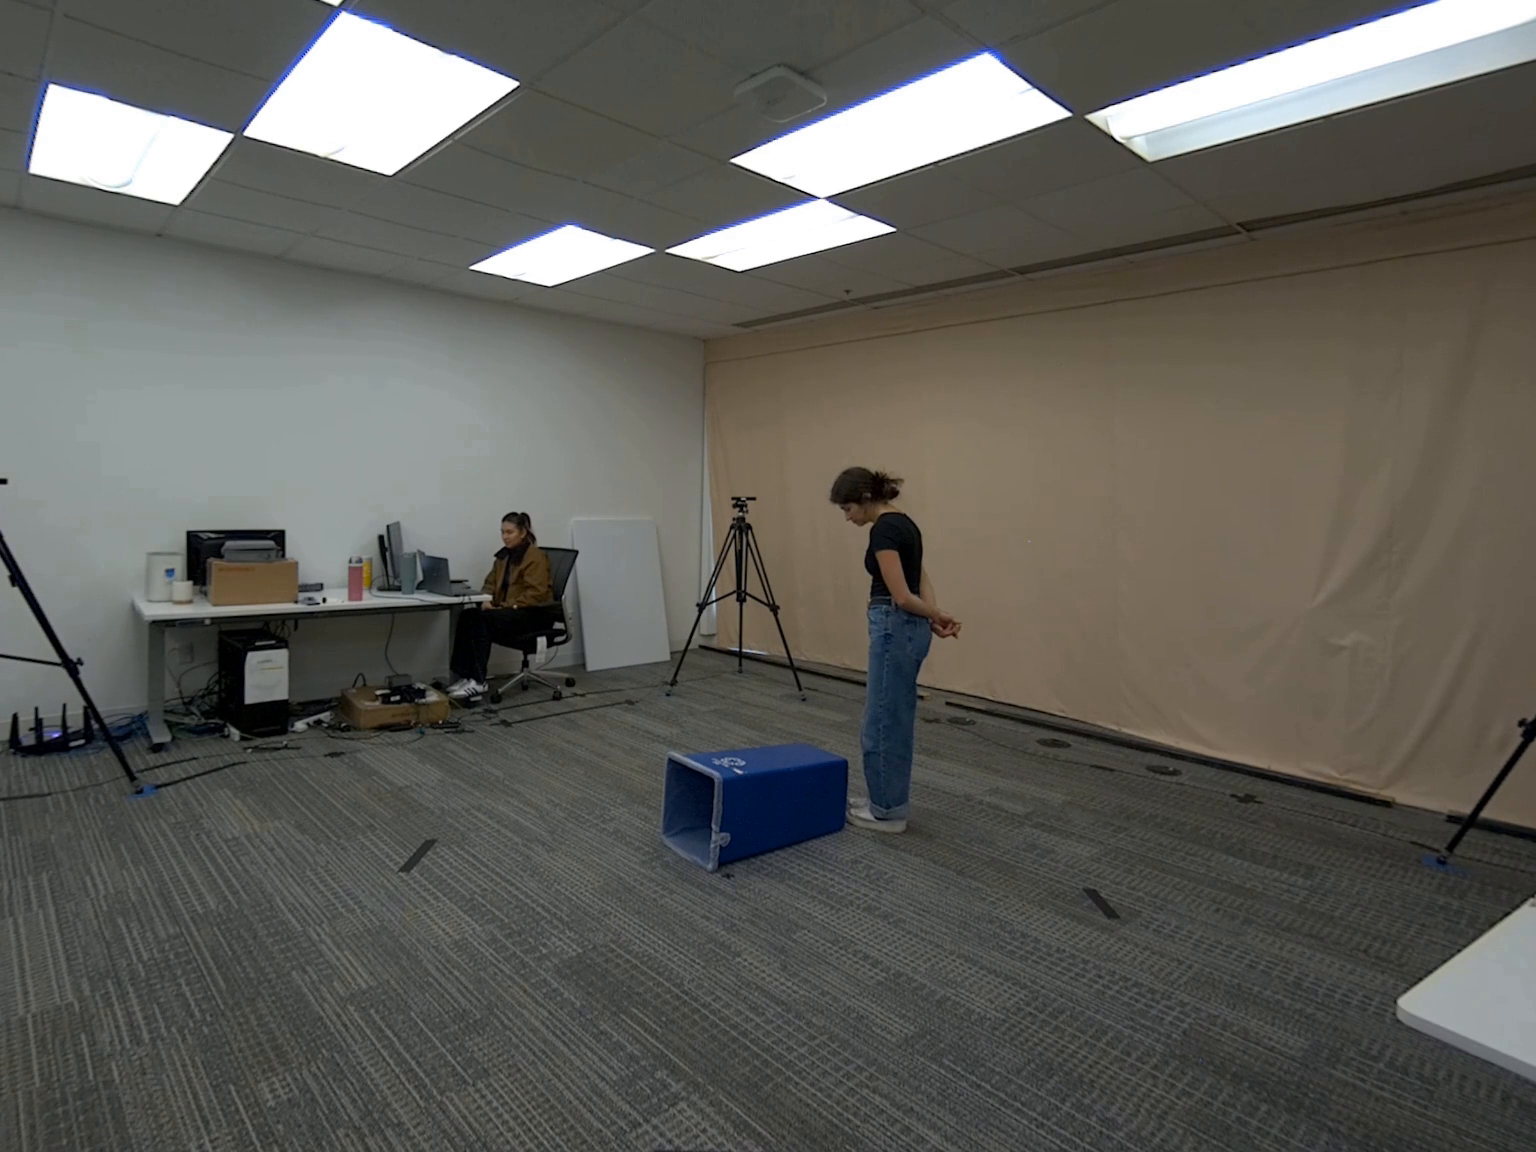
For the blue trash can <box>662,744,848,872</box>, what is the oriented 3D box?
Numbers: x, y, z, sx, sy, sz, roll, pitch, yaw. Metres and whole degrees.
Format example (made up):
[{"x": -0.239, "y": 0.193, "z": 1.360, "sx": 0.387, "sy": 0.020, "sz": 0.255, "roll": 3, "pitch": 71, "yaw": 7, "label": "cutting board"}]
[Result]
[{"x": -0.045, "y": 0.910, "z": 3.464, "sx": 0.696, "sy": 0.377, "sz": 0.383, "roll": 2, "pitch": 3, "yaw": -39, "label": "blue trash can"}]
